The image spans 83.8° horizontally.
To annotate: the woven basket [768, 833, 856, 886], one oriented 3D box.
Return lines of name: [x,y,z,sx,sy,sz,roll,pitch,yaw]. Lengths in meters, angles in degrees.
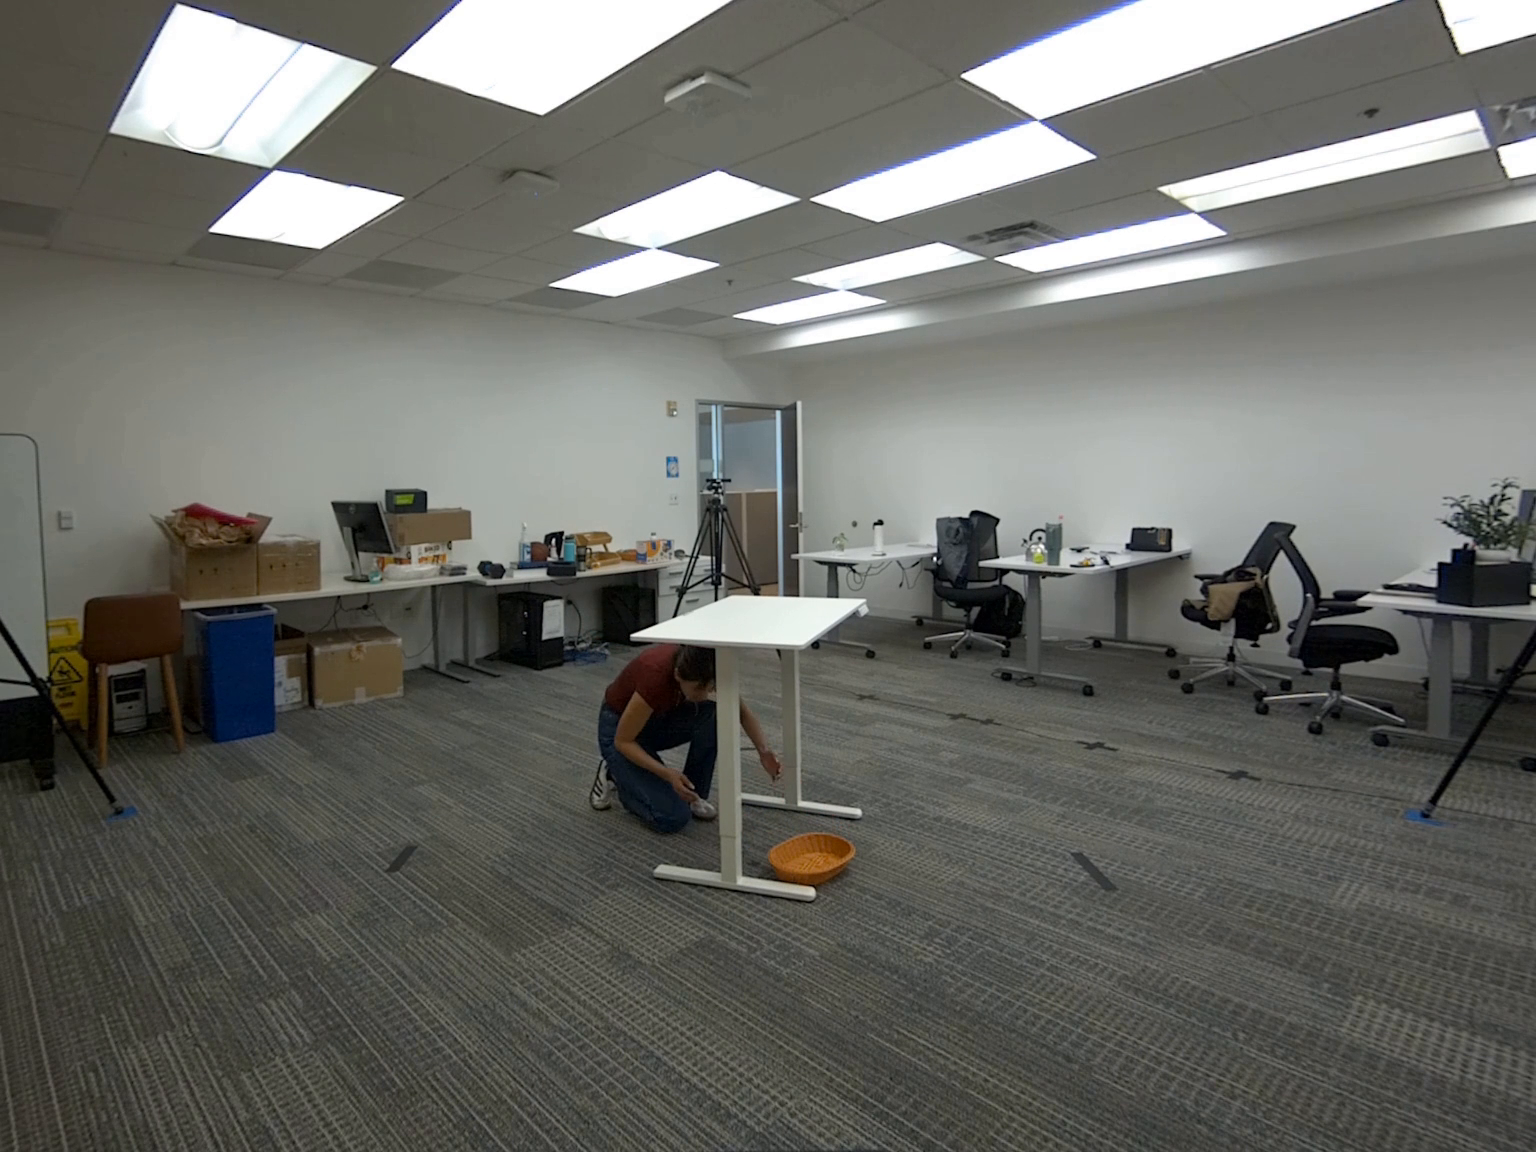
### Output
woven basket: [0.150,1.006,3.041,0.260,0.073,0.341,6,10,42]
